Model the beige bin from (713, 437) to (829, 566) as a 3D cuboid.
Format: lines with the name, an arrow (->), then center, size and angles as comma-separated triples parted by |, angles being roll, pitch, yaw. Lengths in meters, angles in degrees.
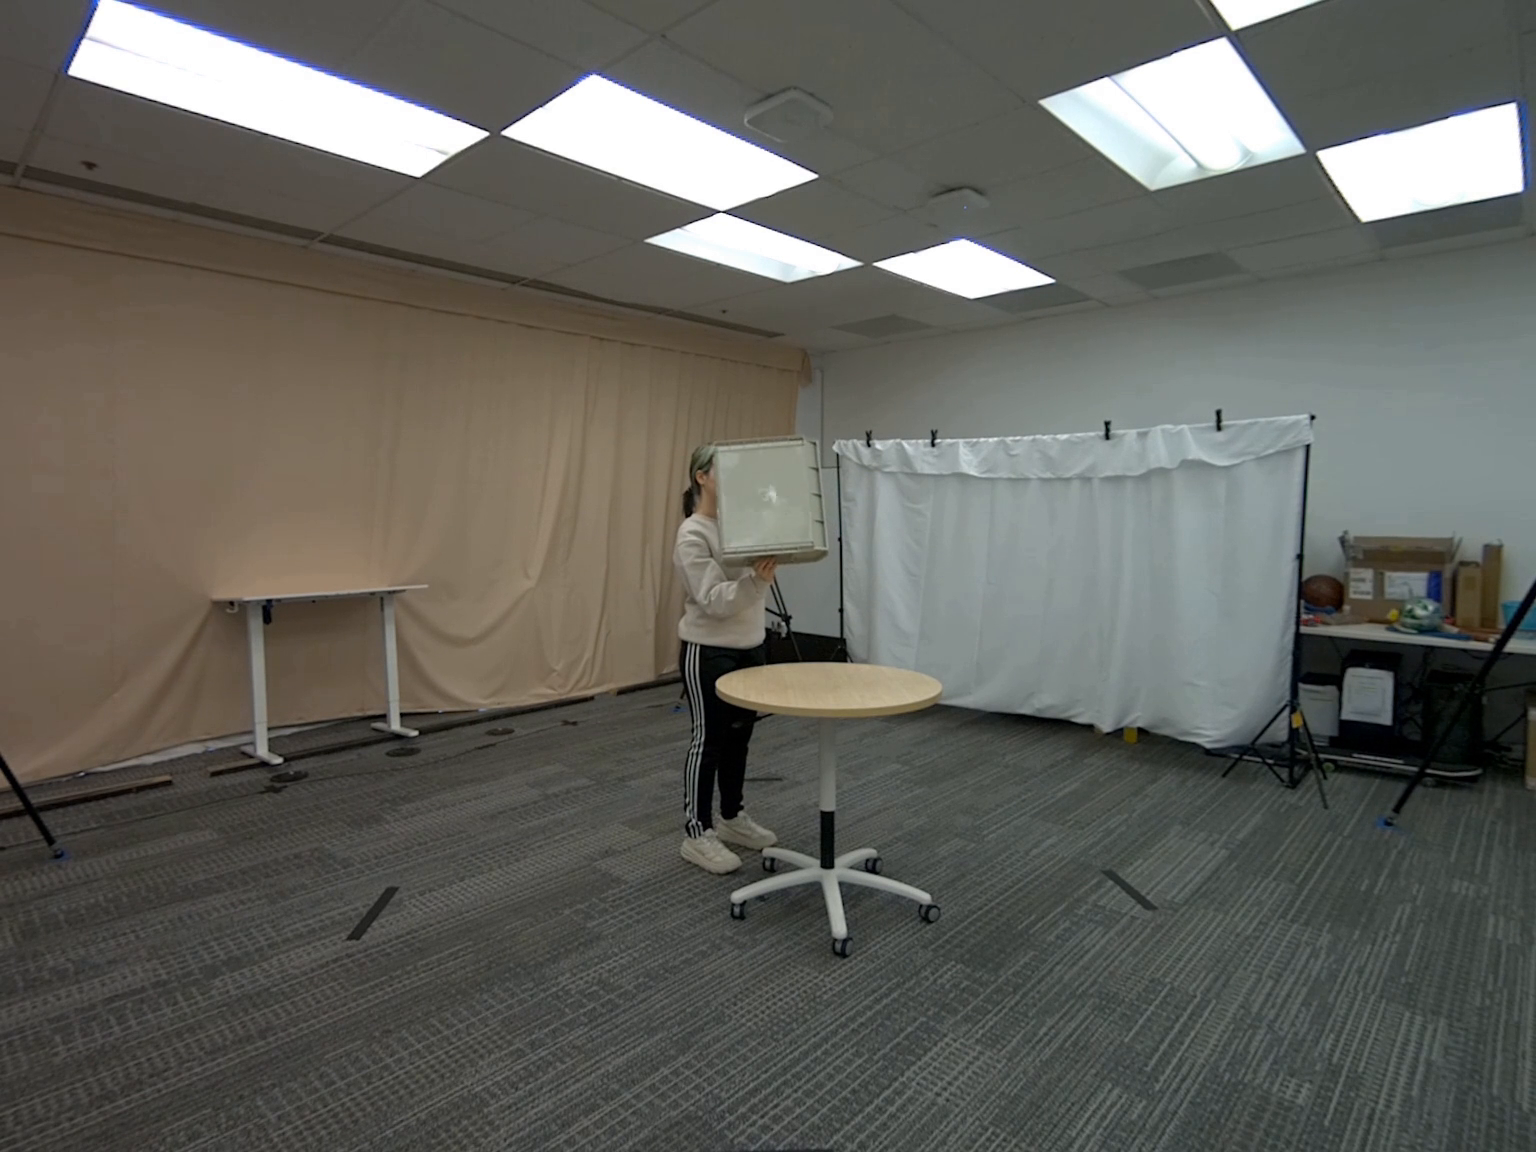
beige bin -> 0.010, -0.257, 2.974 | 0.378, 0.426, 0.187 | -3, -13, 2
